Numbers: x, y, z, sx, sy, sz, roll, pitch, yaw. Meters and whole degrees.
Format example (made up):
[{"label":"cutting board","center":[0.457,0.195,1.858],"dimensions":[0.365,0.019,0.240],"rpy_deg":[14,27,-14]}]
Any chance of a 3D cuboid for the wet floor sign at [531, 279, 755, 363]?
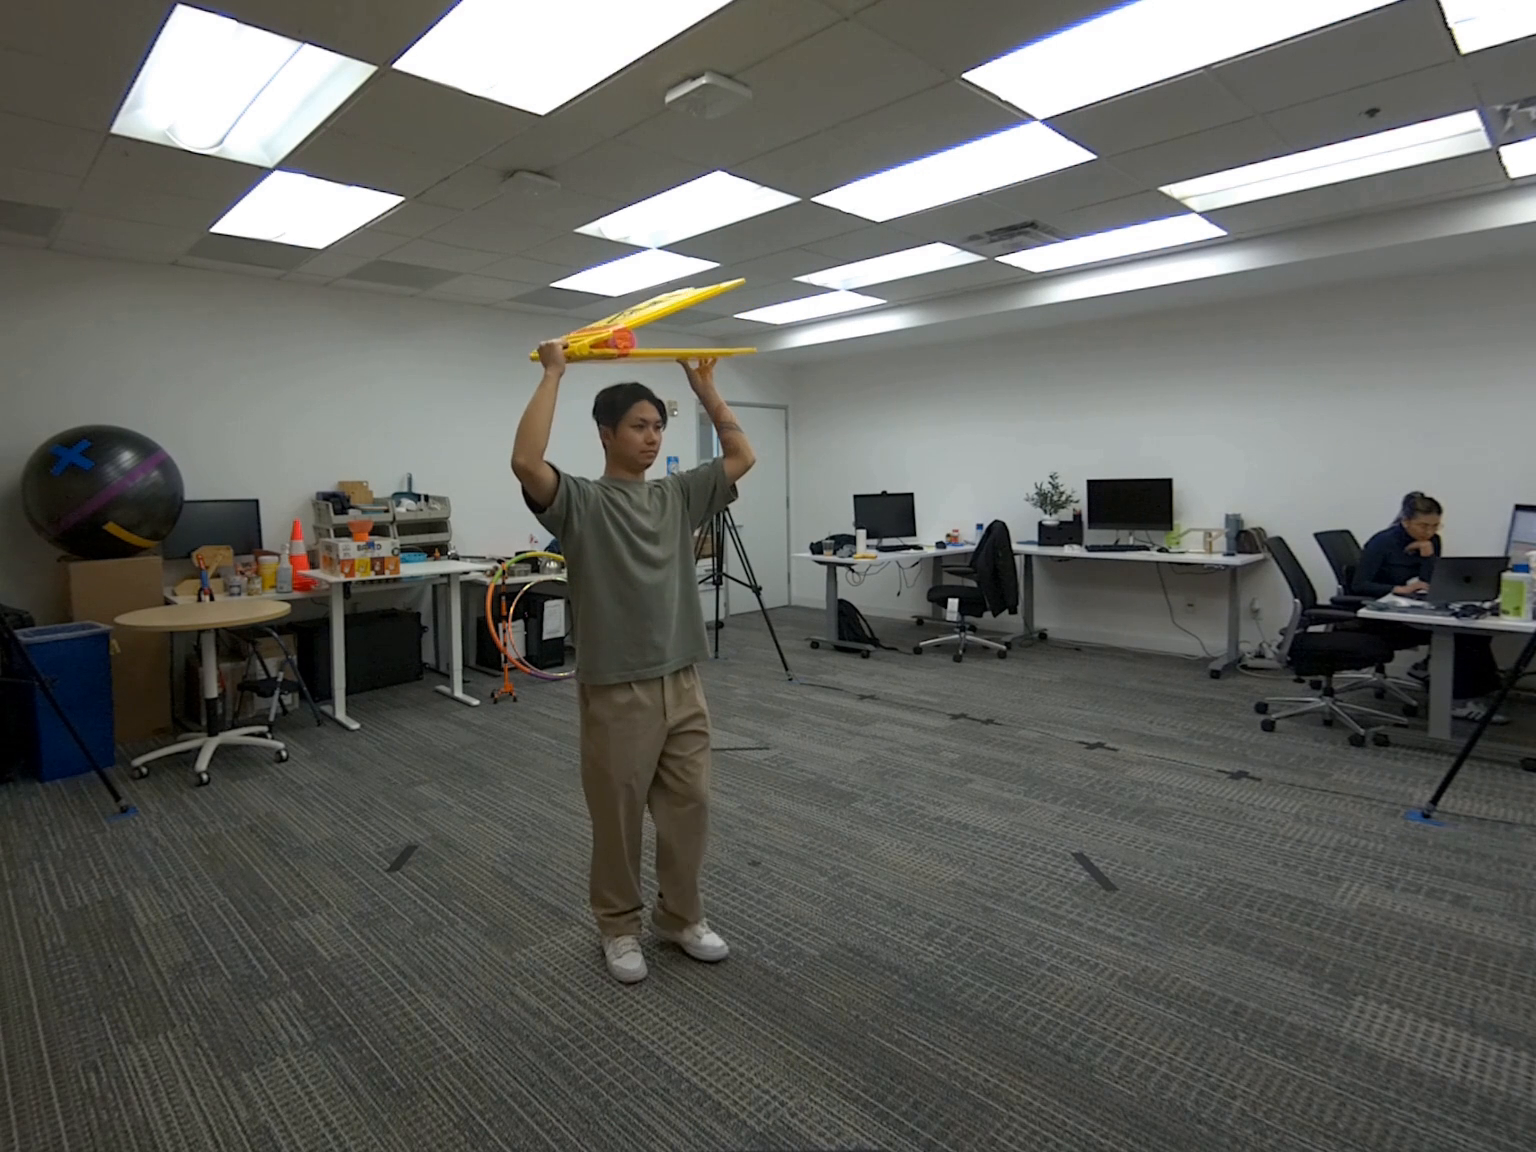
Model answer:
[{"label":"wet floor sign","center":[-0.347,-0.669,2.392],"dimensions":[0.291,0.285,0.637],"rpy_deg":[3,21,39]}]
